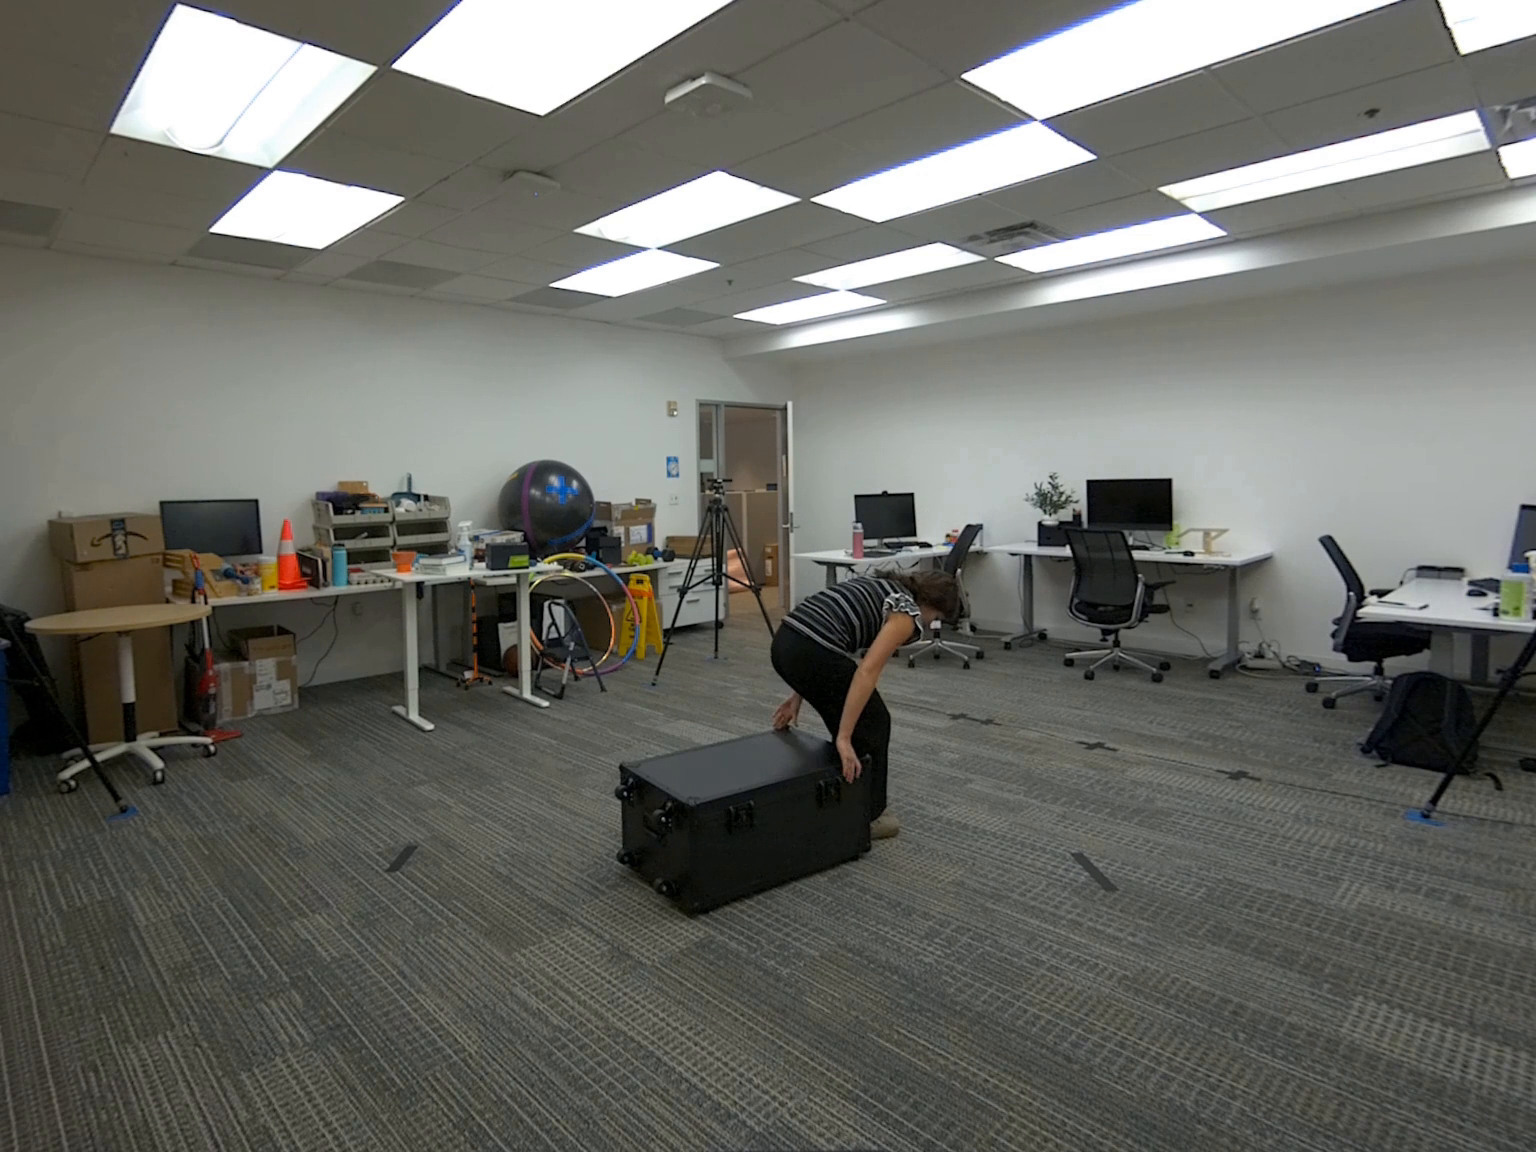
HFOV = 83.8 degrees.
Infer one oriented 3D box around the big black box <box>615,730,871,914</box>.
[{"bbox_3d":[-0.110,0.858,3.095,0.839,0.395,0.537,-4,6,-35],"label":"big black box"}]
